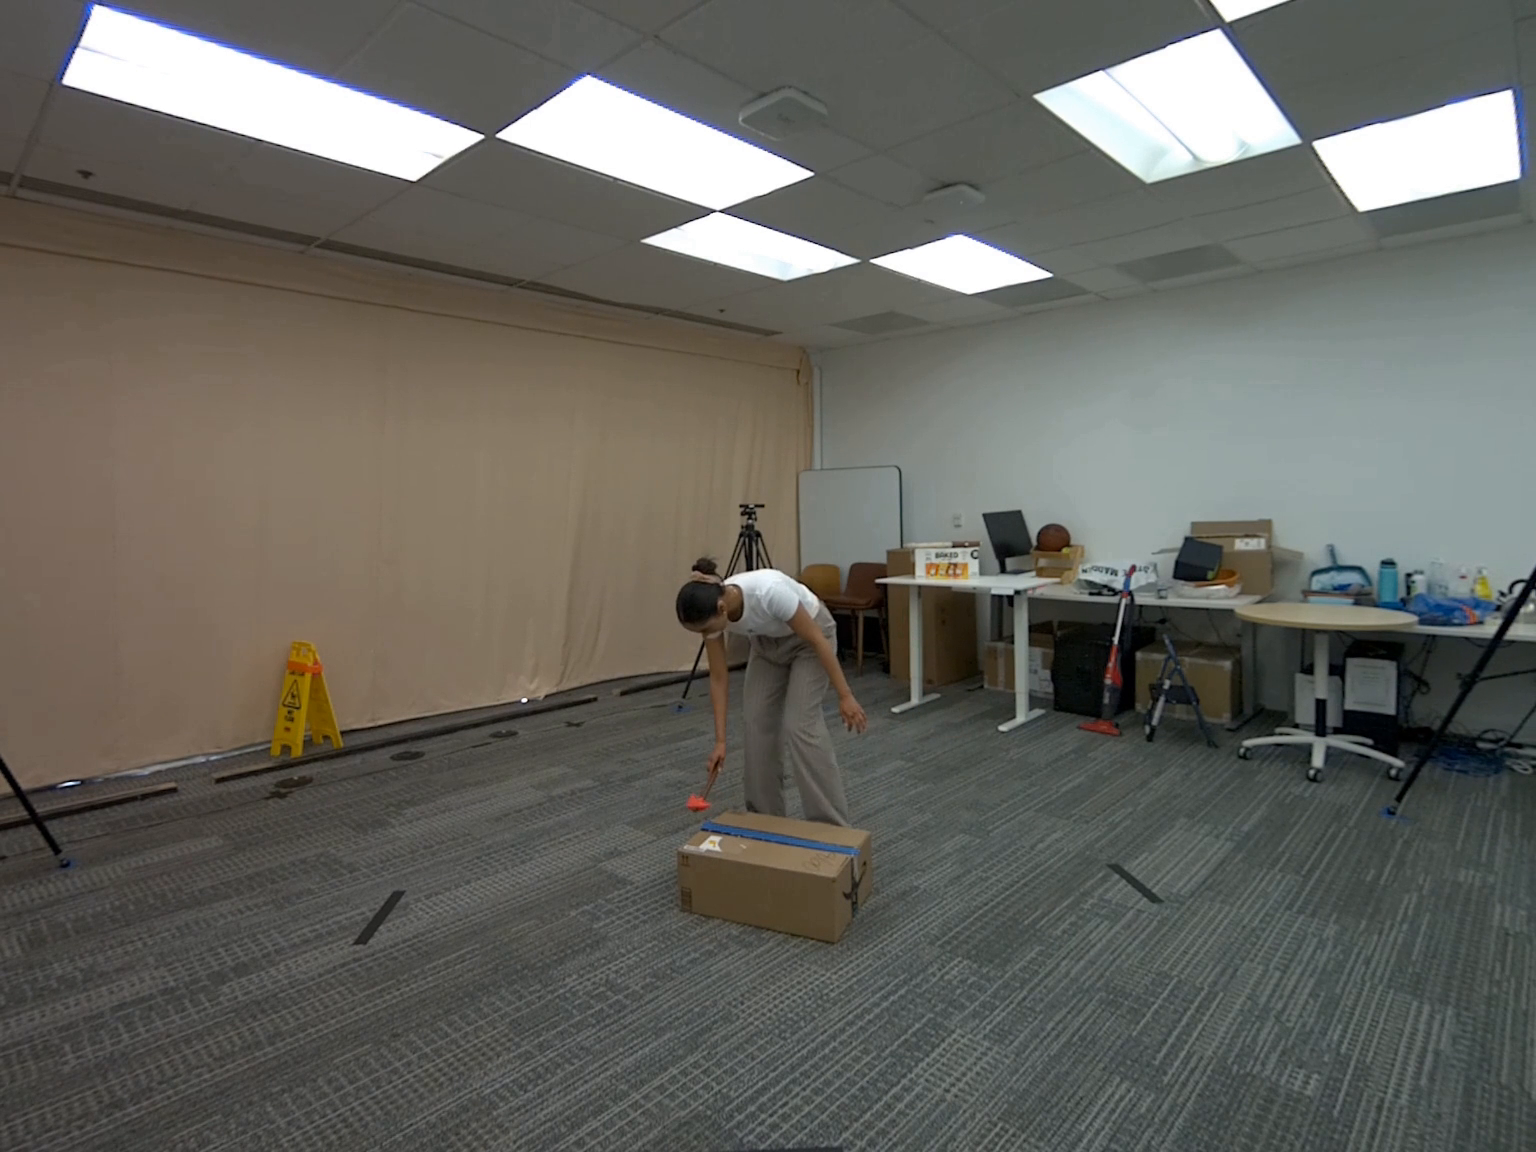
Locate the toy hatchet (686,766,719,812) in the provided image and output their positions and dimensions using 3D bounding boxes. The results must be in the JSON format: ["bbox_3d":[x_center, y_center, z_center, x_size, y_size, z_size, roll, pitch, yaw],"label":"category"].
[{"bbox_3d":[-0.235,0.830,3.328,0.133,0.029,0.271,-29,21,28],"label":"toy hatchet"}]
